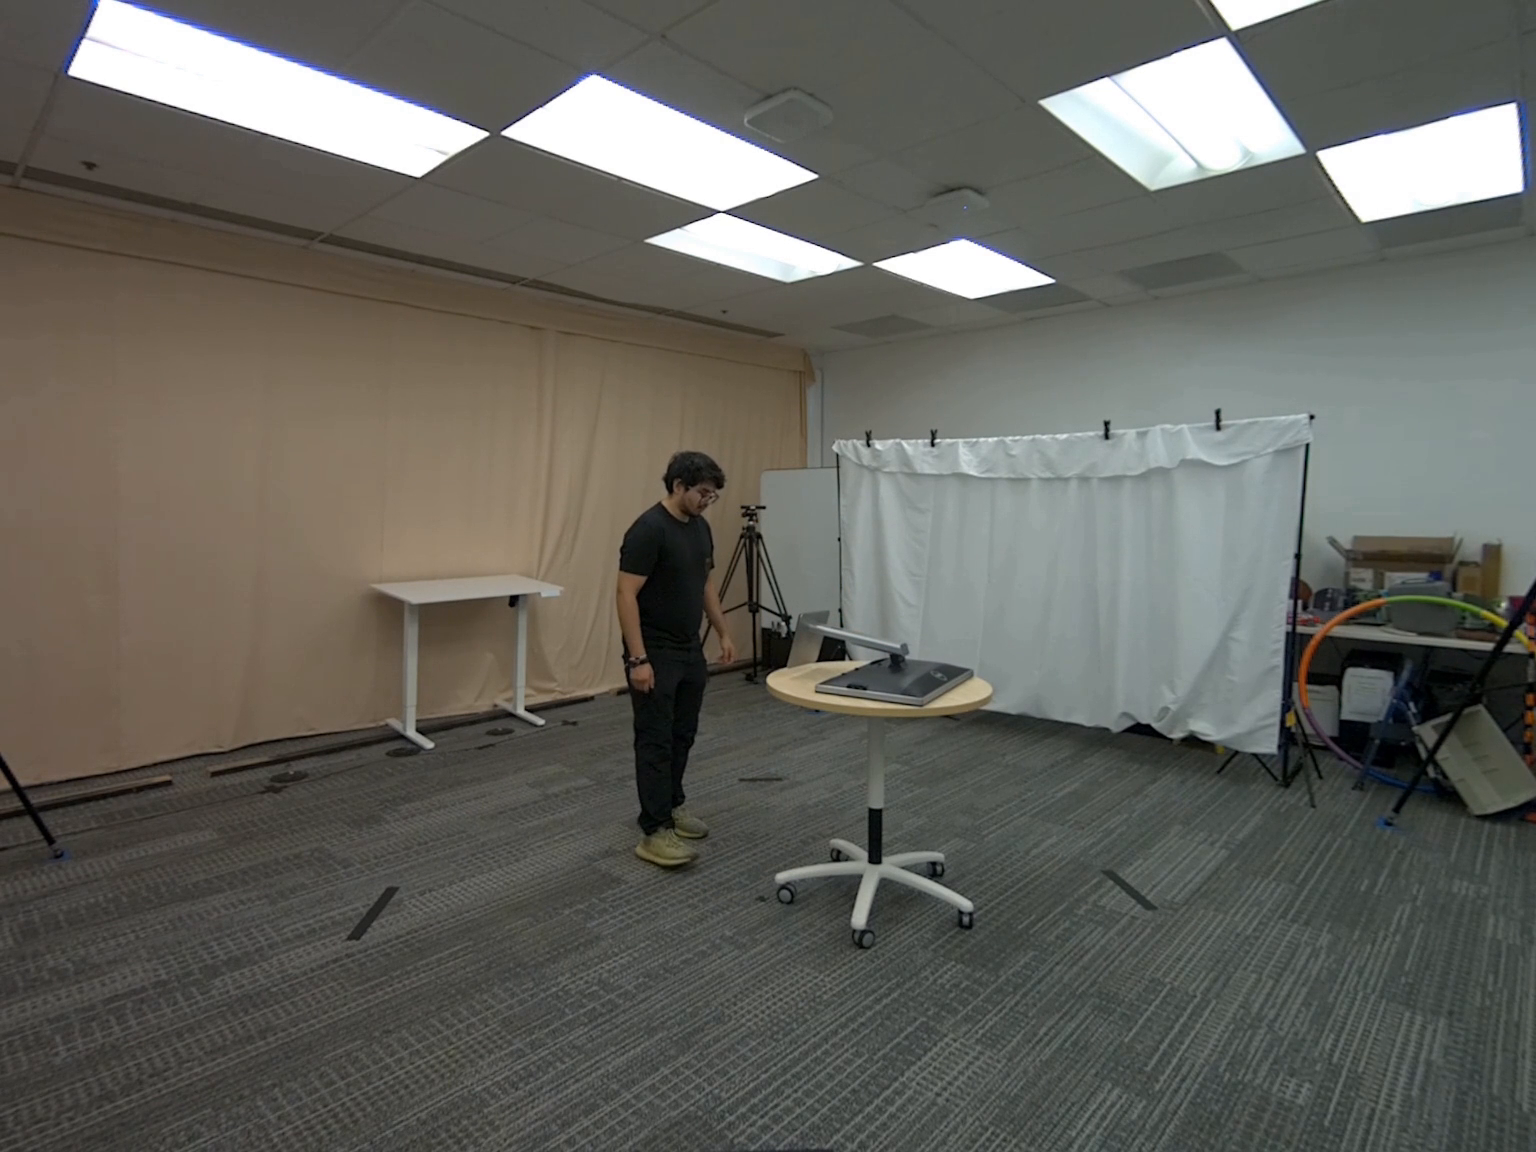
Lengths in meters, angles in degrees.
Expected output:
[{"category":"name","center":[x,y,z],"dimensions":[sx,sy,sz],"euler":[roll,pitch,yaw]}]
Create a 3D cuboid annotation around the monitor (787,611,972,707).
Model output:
[{"category":"monitor","center":[0.380,0.273,2.915],"dimensions":[0.571,0.209,0.550],"euler":[9,8,30]}]
